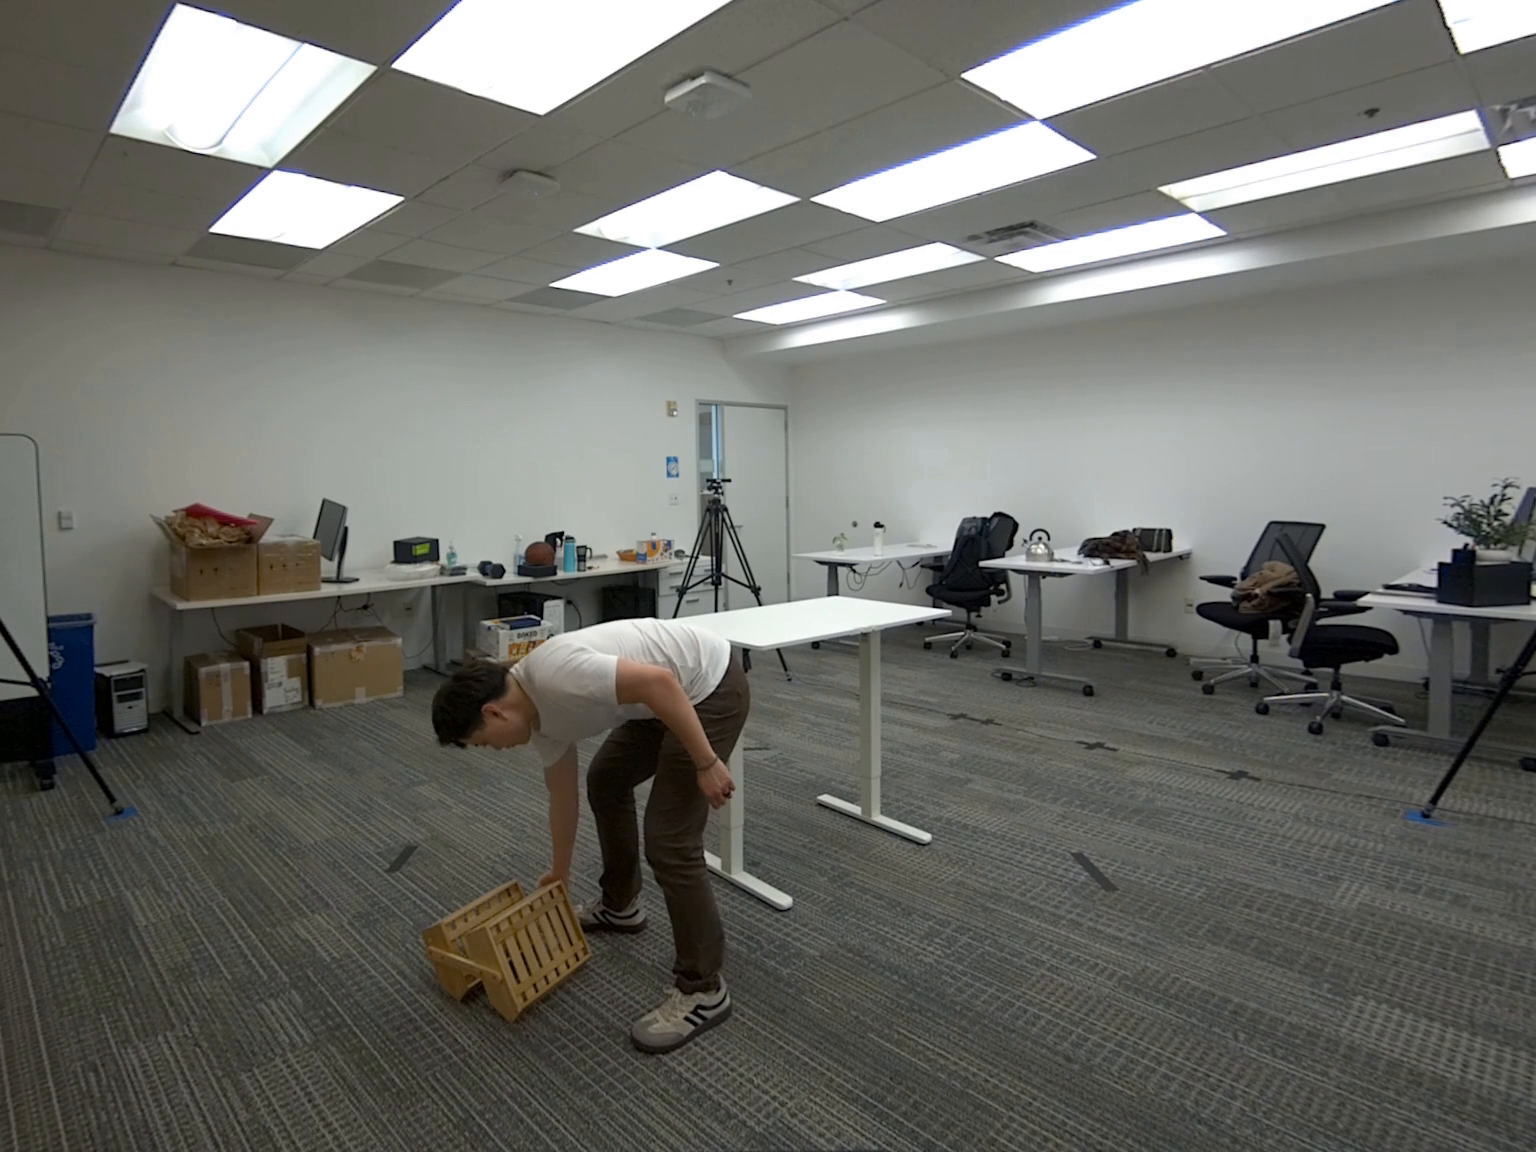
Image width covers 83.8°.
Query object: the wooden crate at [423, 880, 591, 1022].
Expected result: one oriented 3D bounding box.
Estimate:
[{"bbox_3d":[-0.729,1.051,2.423,0.276,0.306,0.318,-30,-9,29],"label":"wooden crate"}]
